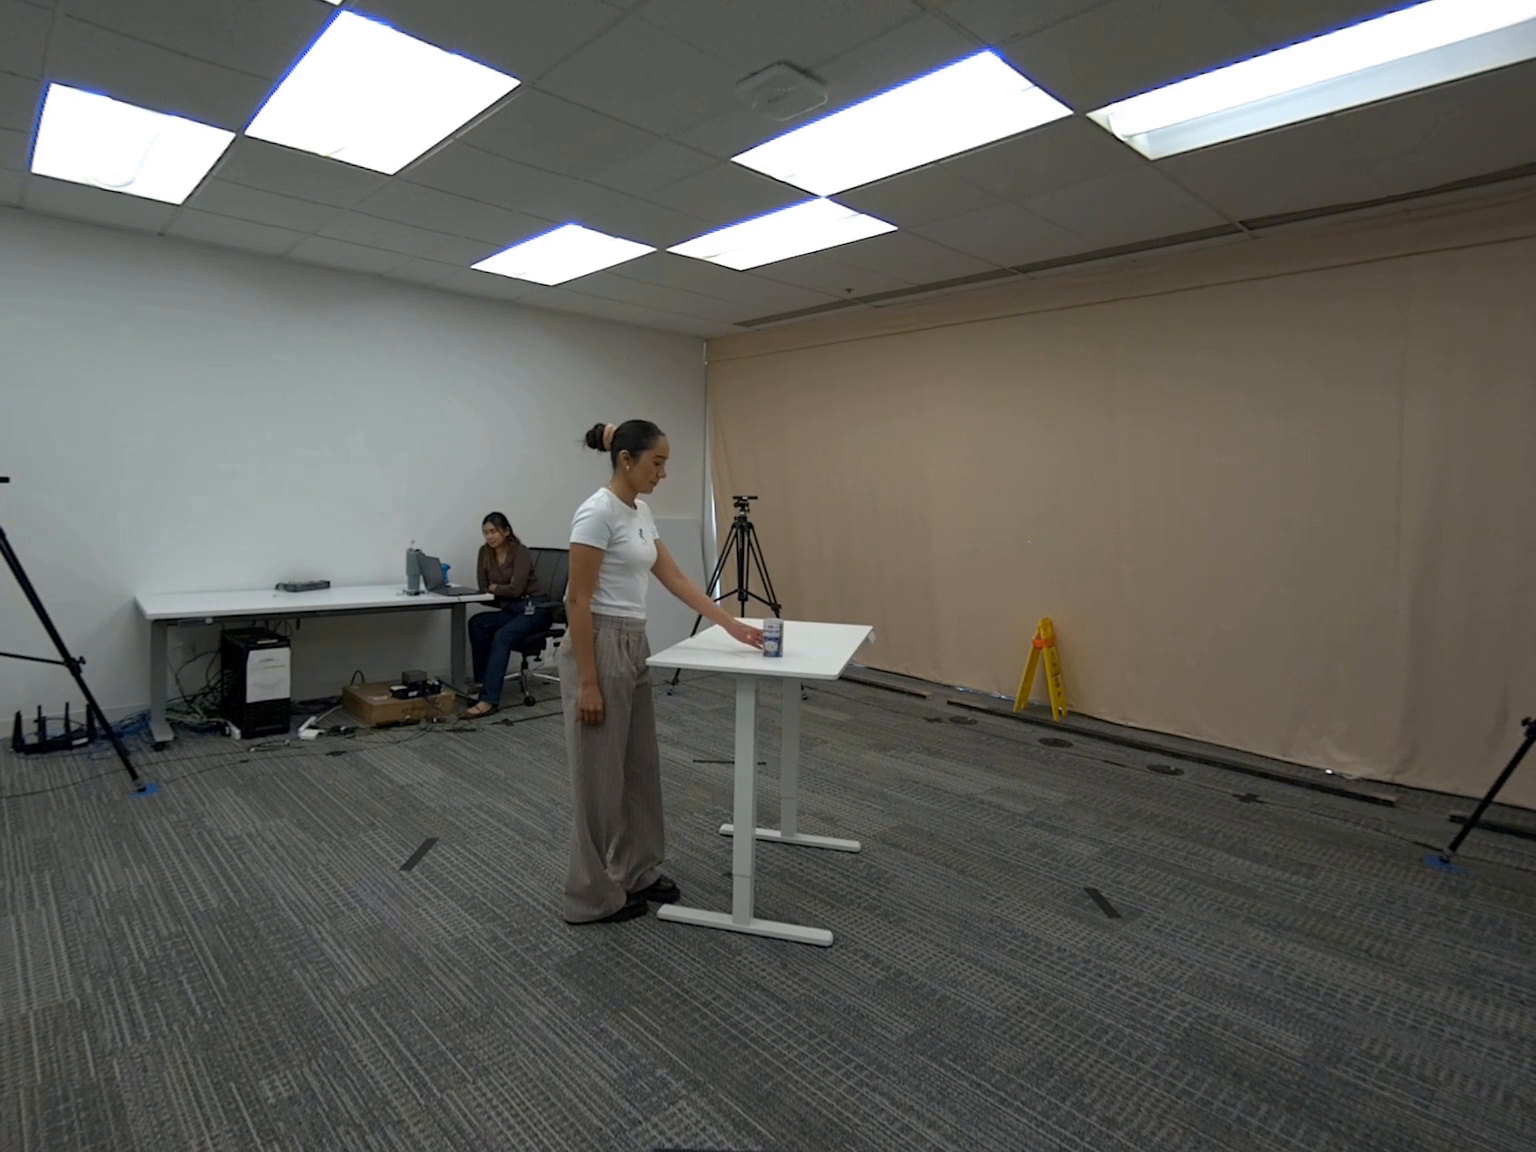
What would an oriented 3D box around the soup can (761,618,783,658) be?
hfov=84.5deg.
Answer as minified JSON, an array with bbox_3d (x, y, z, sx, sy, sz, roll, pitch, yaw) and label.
[{"bbox_3d":[0.010,0.205,2.716,0.067,0.121,0.067,2,0,-1],"label":"soup can"}]
